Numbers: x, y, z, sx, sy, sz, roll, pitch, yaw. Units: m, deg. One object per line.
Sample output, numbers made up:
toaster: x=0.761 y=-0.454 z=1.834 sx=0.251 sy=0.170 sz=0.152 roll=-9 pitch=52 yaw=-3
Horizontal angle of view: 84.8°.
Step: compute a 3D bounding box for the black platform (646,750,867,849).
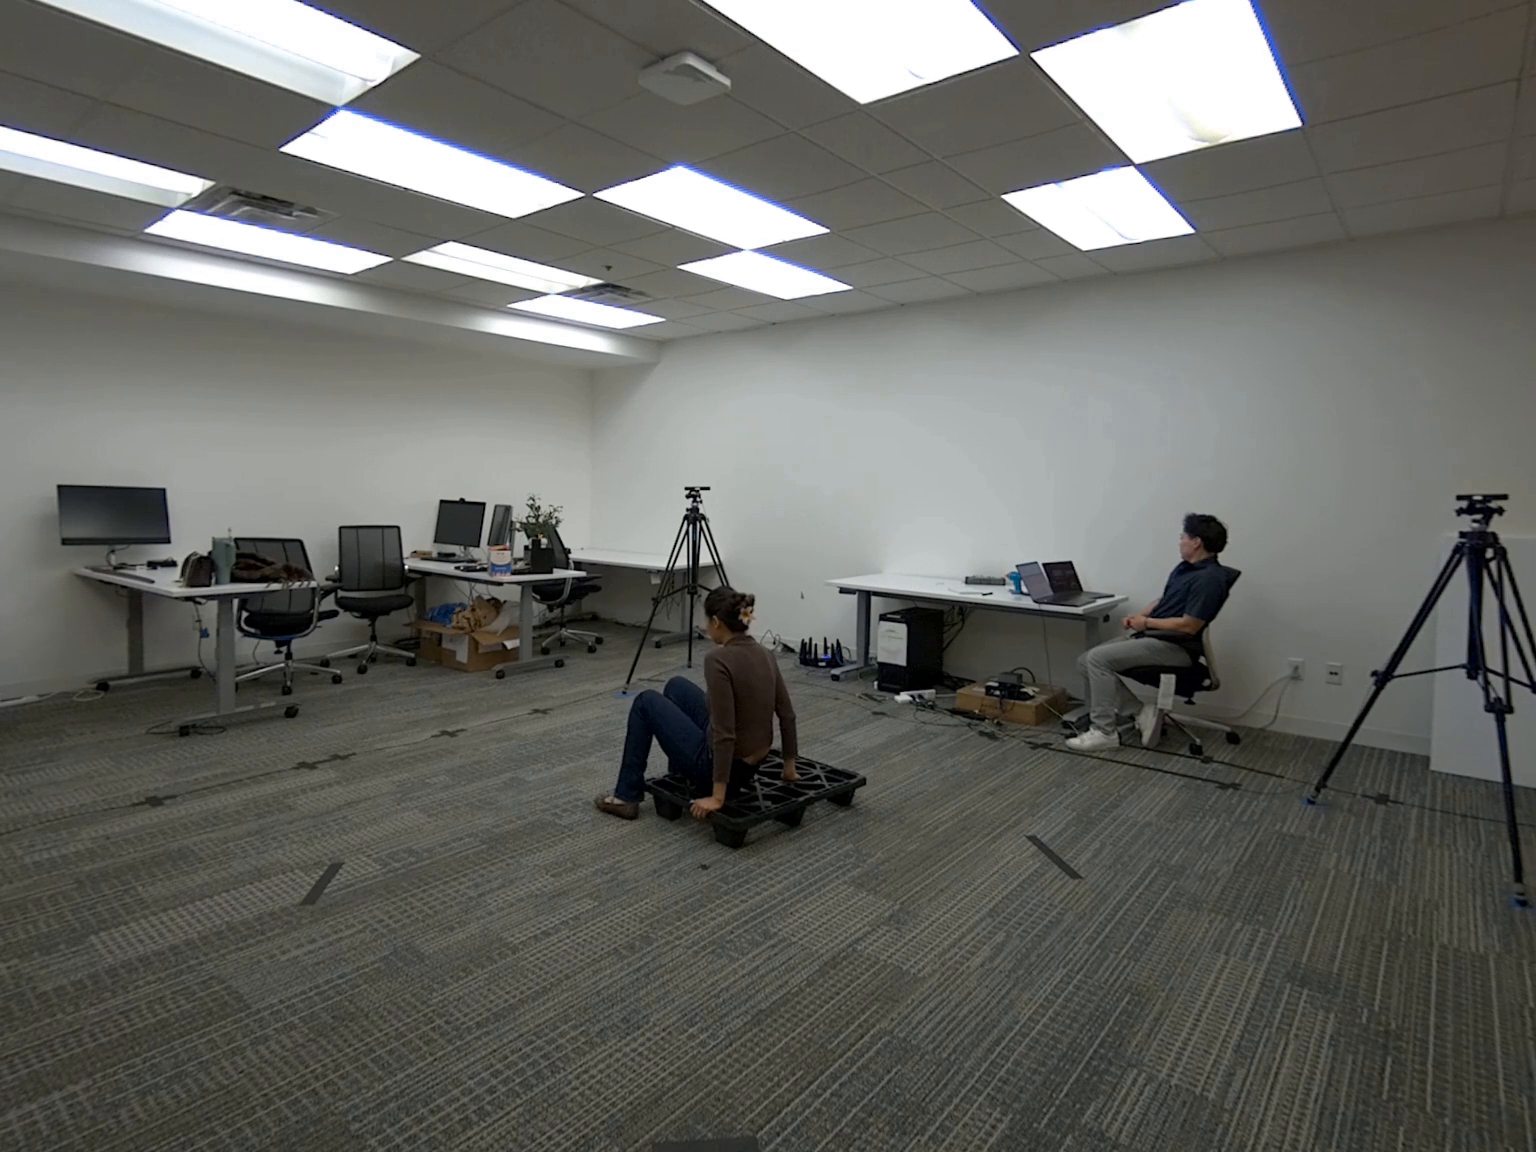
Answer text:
black platform: x=-0.055 y=0.946 z=3.687 sx=0.782 sy=0.142 sz=0.626 roll=-5 pitch=9 yaw=-44
